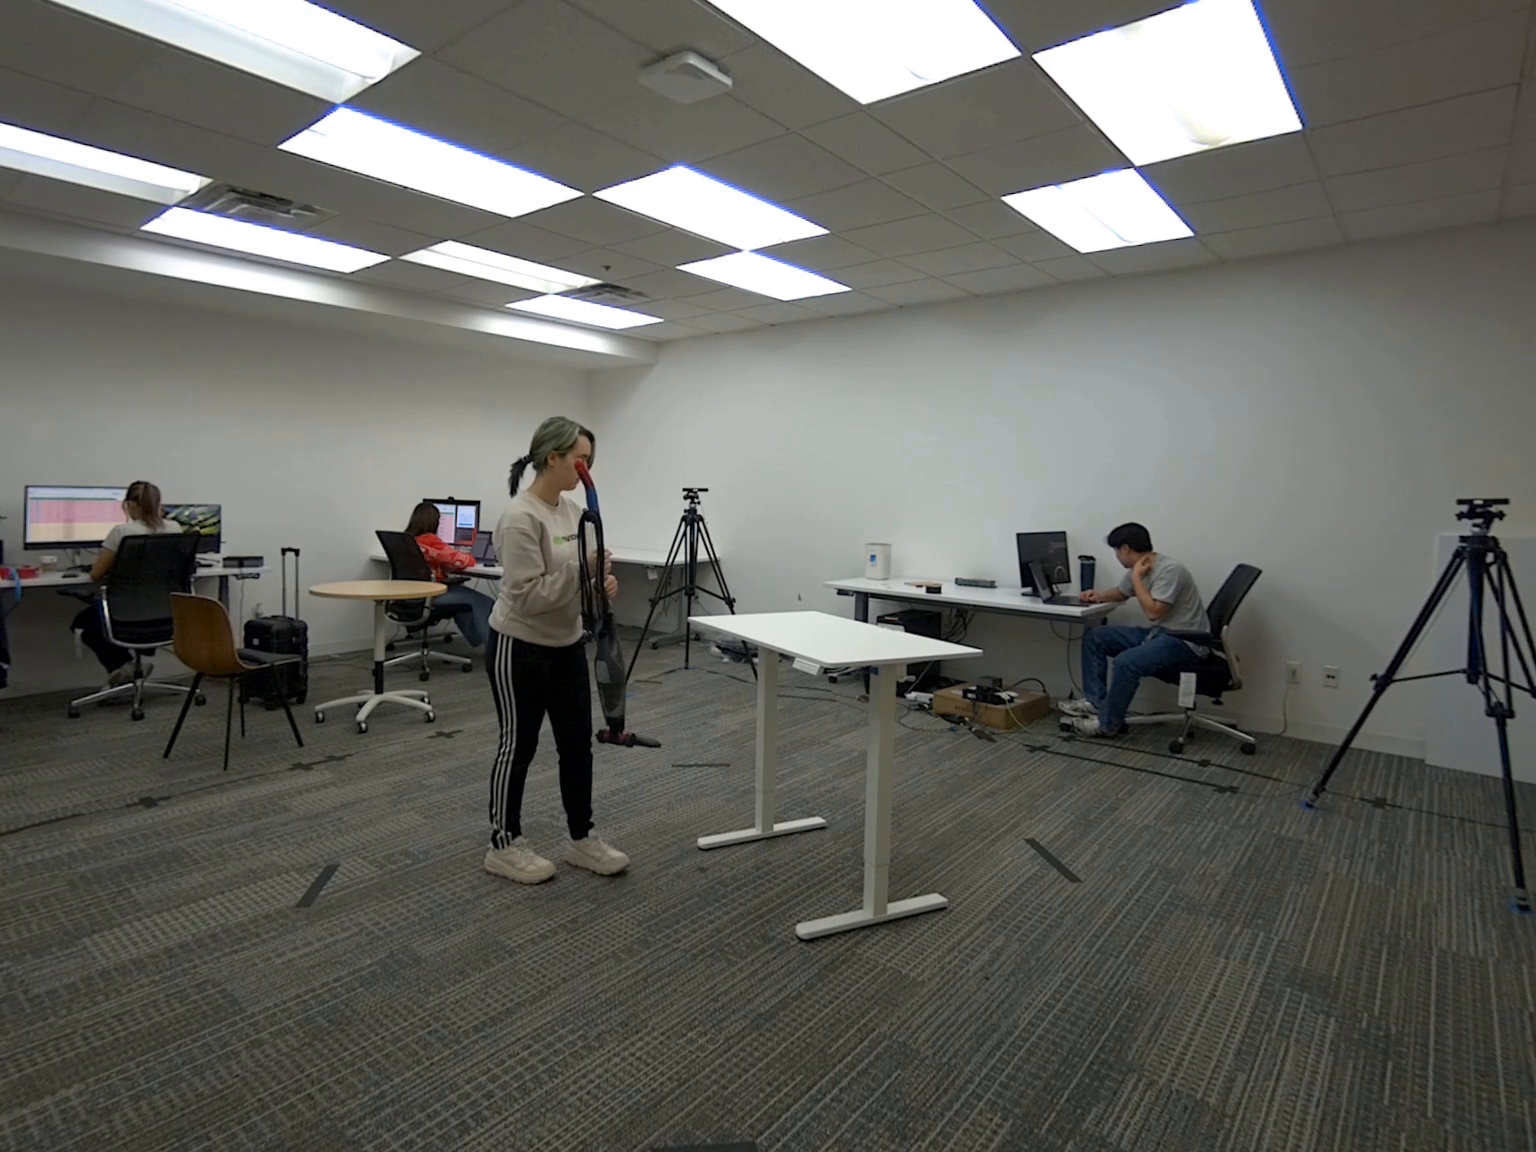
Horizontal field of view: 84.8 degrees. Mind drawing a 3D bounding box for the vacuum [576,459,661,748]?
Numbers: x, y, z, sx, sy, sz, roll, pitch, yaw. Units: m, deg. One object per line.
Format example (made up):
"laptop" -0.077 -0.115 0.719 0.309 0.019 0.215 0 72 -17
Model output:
"vacuum" -0.576 0.123 2.902 0.259 1.029 0.143 5 21 25
